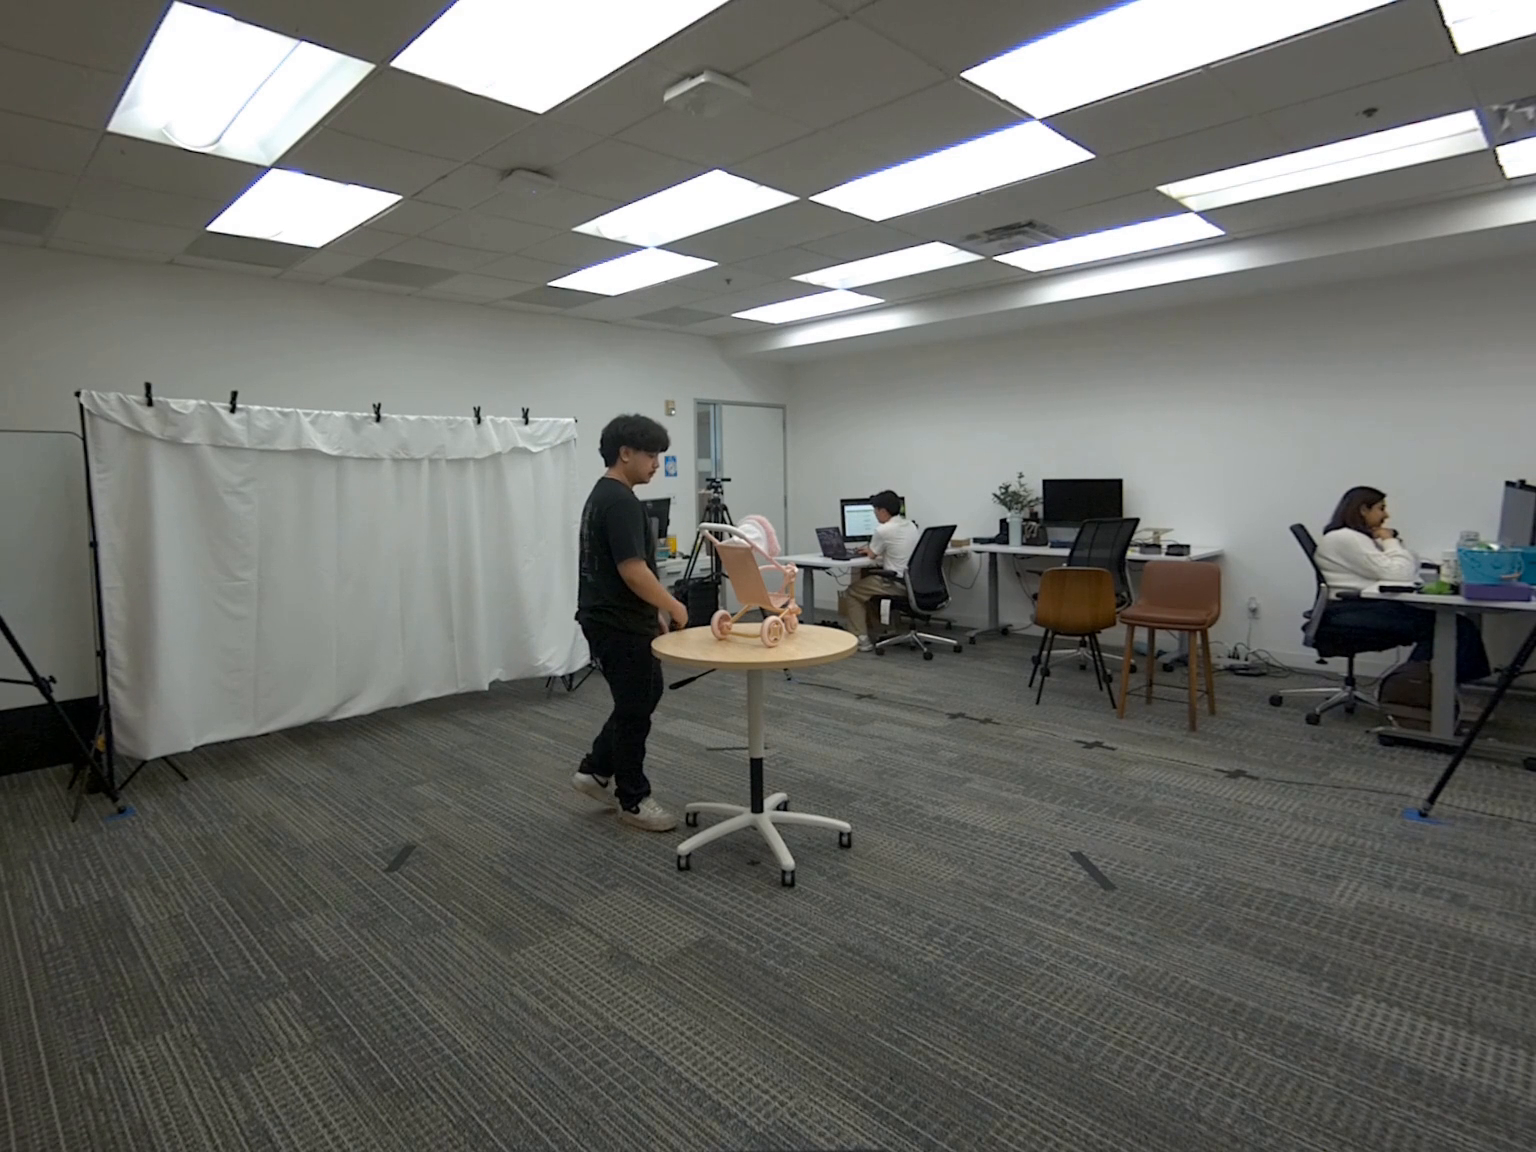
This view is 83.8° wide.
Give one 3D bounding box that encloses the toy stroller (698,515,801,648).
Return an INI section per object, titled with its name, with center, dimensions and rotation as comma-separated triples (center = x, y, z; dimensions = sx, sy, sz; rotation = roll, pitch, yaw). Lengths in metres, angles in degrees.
[toy stroller]
center = -0.036, 0.014, 3.166
dimensions = 0.336, 0.527, 0.290
rotation = -24, 18, -40
